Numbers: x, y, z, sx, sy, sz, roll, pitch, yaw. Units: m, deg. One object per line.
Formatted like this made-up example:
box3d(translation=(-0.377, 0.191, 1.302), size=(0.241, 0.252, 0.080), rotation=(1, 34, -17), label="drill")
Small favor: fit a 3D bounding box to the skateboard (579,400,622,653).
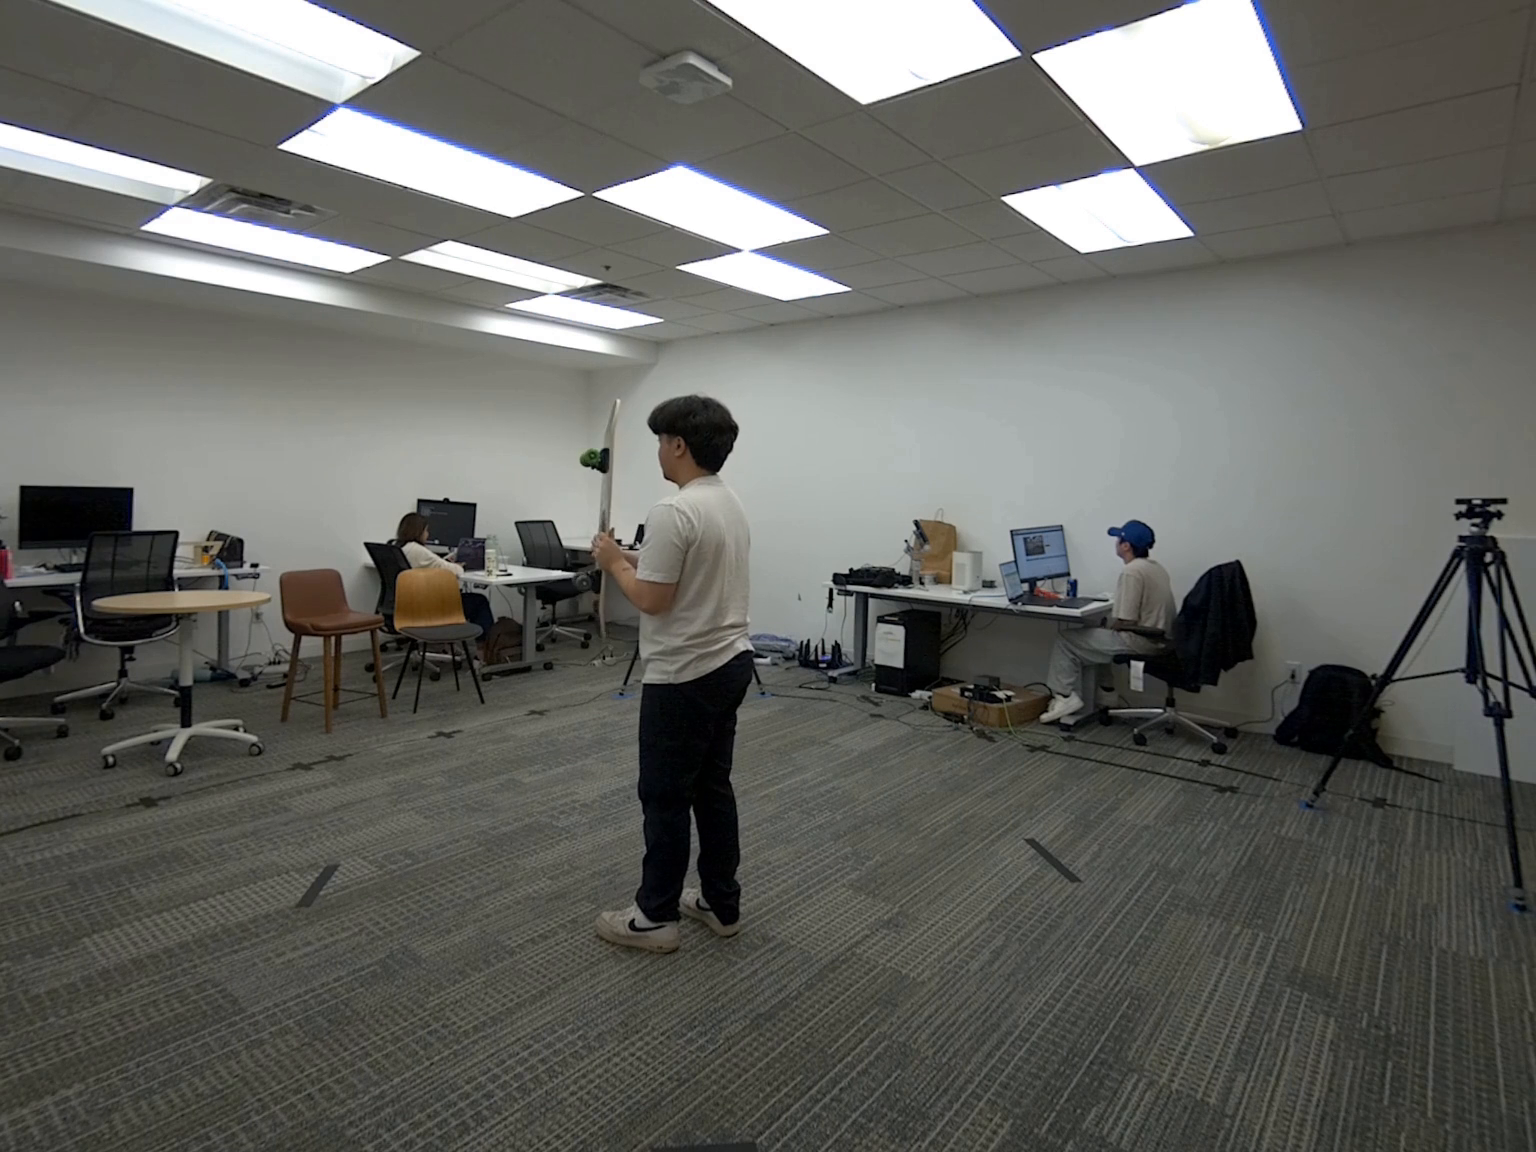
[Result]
box3d(translation=(-0.572, -0.183, 2.746), size=(0.108, 0.786, 0.197), rotation=(2, -1, -17), label="skateboard")
